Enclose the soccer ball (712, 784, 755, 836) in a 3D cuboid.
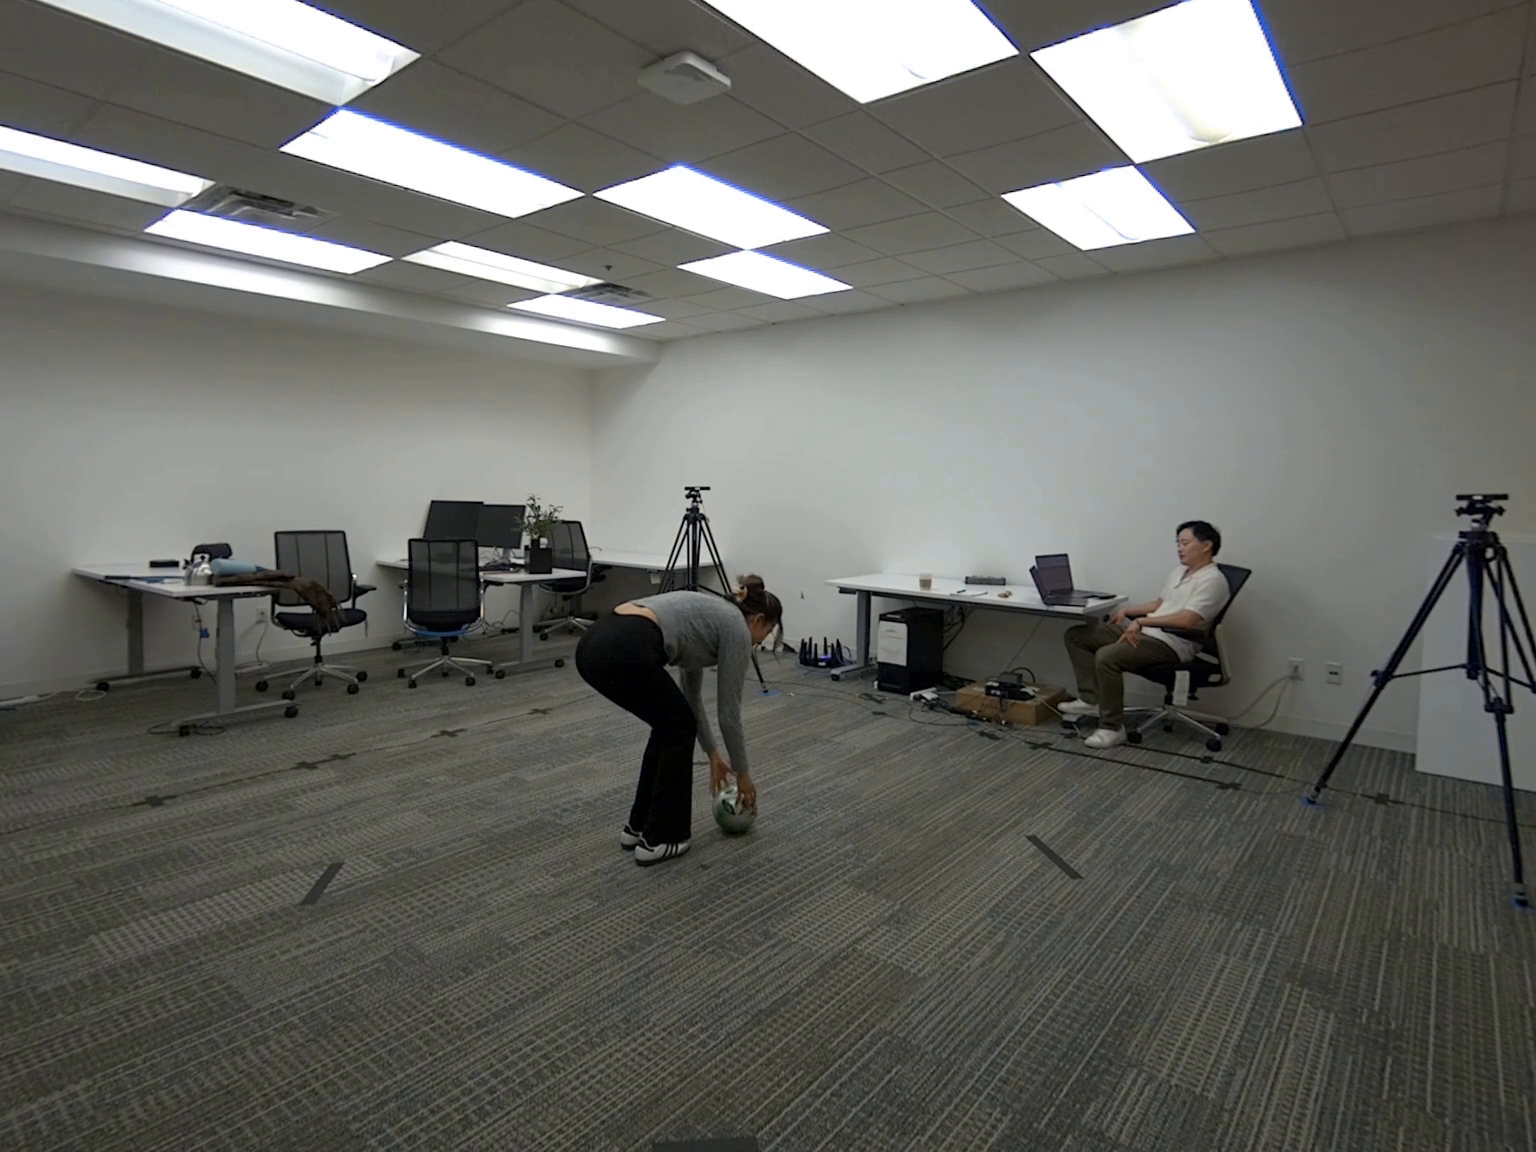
[{"bbox_3d":[-0.152,0.903,3.440,0.187,0.187,0.188,1,4,-2],"label":"soccer ball"}]
